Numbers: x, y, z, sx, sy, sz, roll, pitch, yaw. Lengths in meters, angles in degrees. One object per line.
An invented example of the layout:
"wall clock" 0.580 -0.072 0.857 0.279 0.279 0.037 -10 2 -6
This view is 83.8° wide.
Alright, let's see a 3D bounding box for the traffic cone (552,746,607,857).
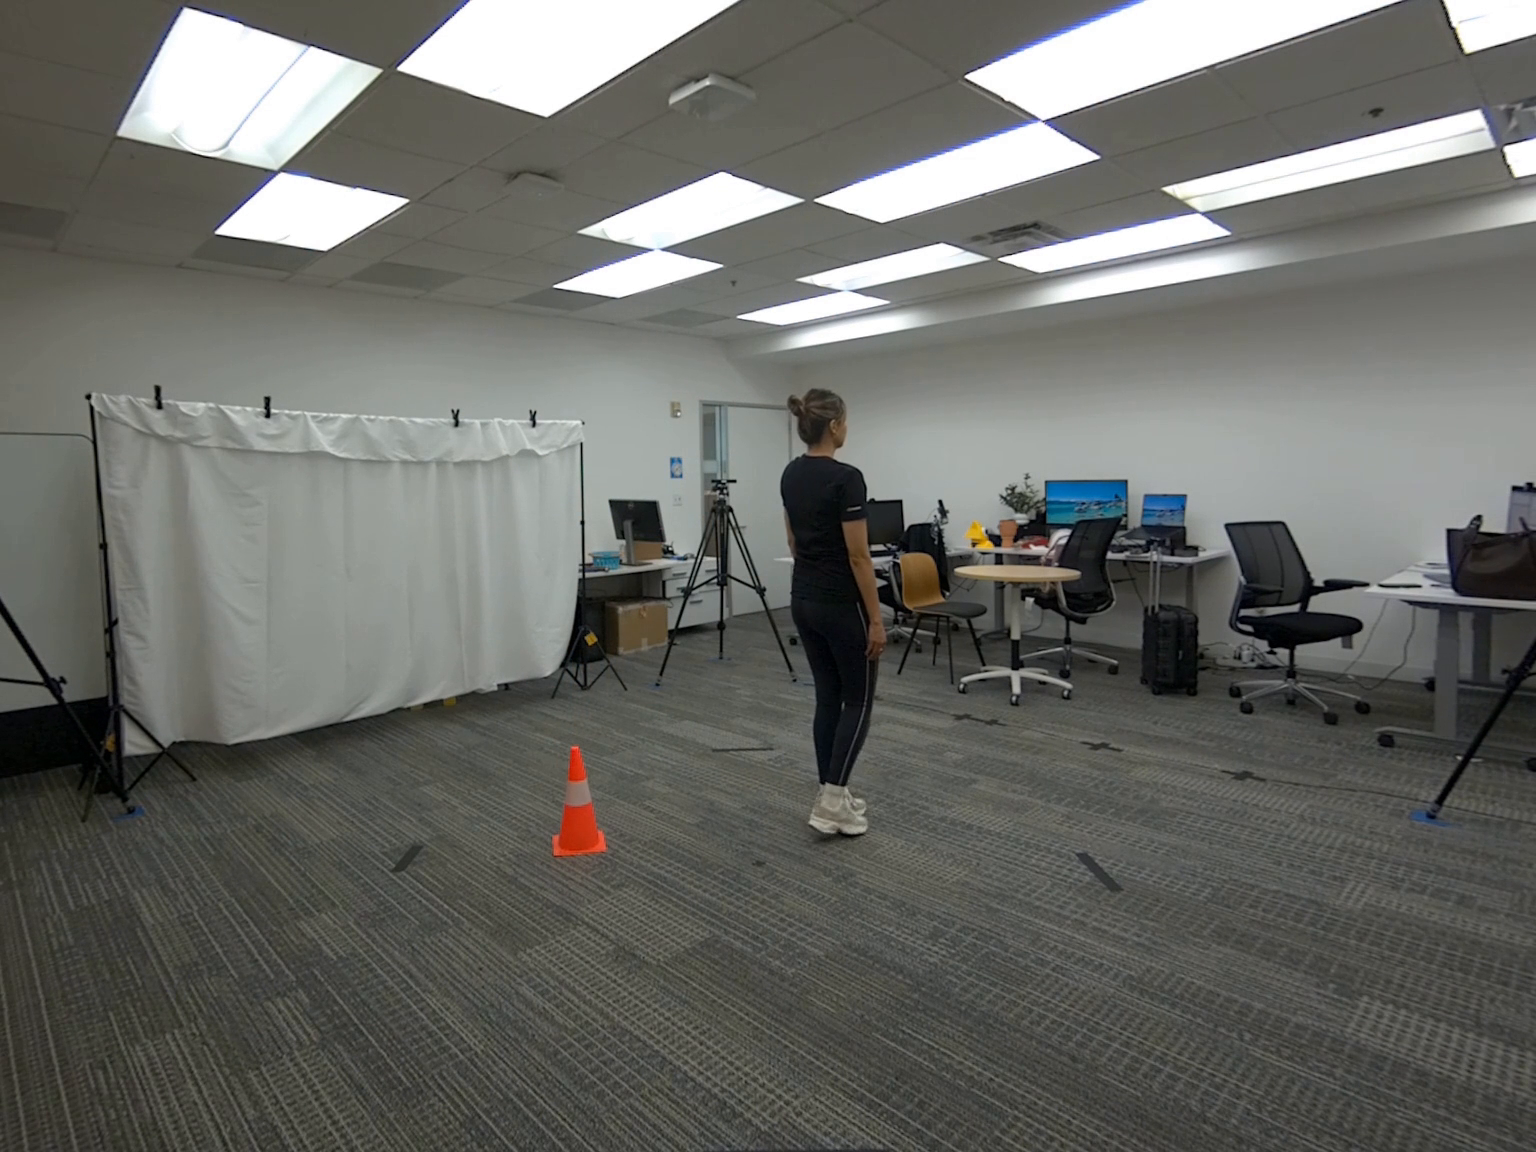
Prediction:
"traffic cone" -0.745 0.855 3.304 0.202 0.382 0.207 -3 4 -18
